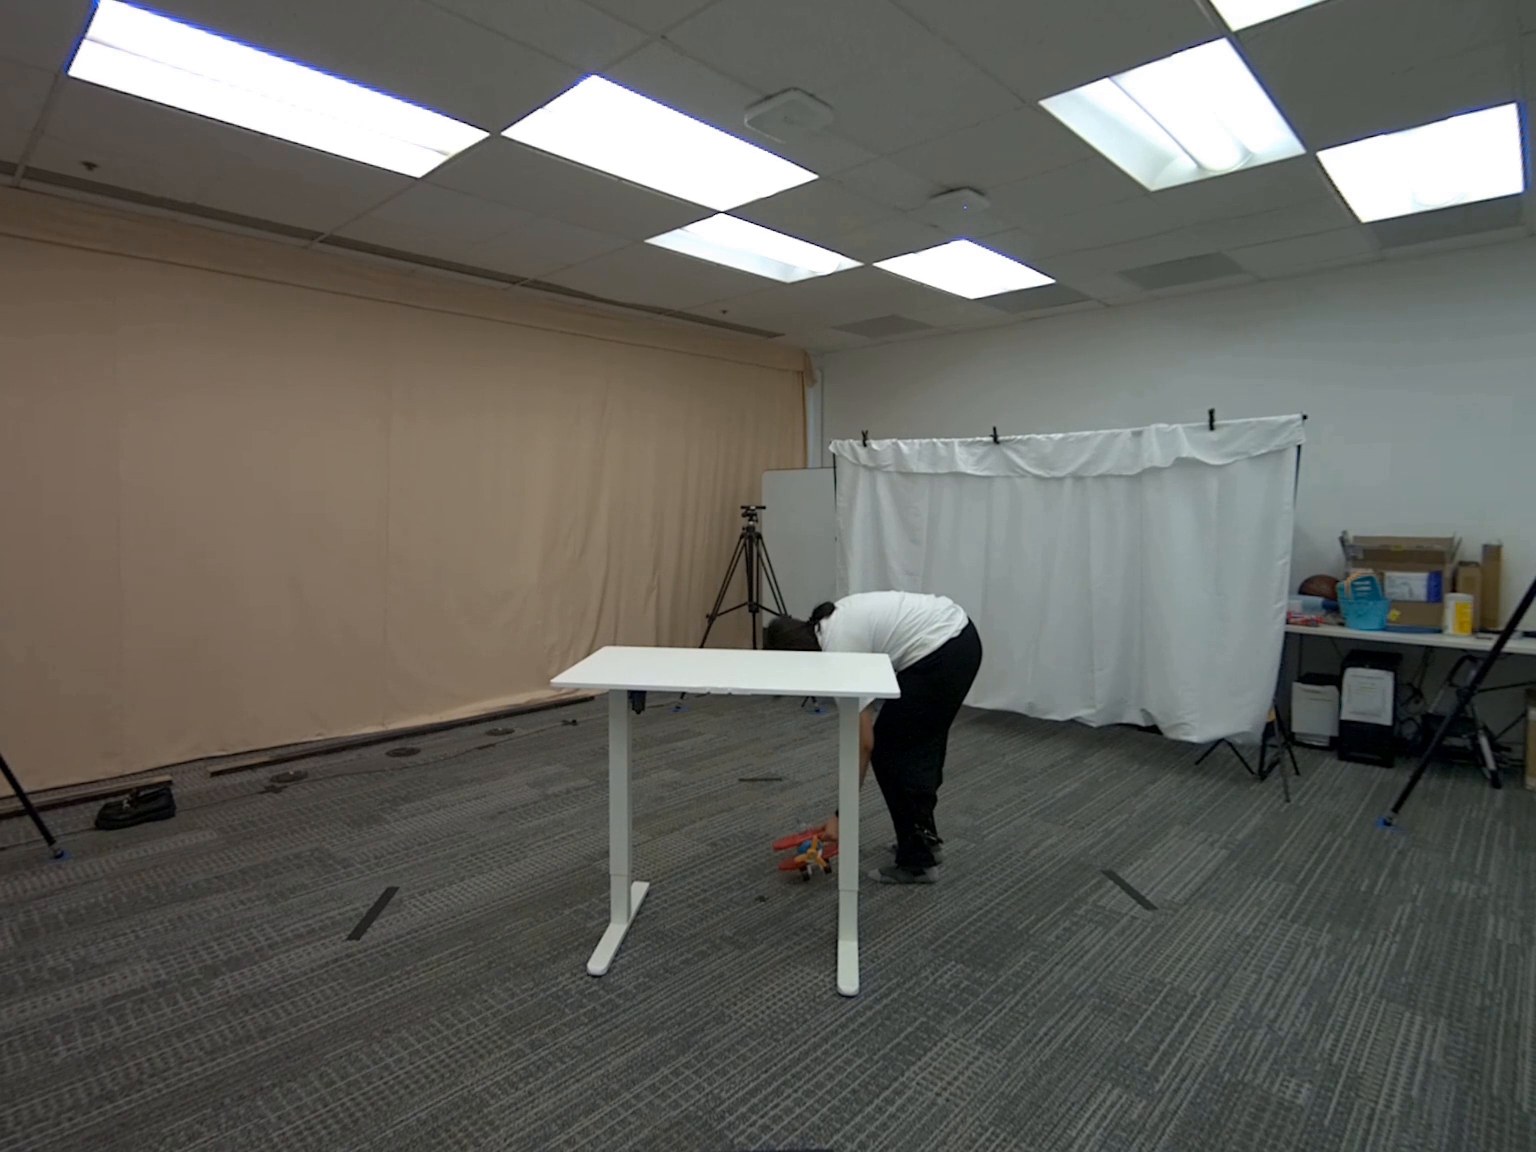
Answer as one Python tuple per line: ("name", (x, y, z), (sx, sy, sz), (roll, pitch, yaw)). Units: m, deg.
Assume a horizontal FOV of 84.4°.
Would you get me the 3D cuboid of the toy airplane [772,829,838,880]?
("toy airplane", (0.132, 1.030, 3.171), (0.246, 0.154, 0.268), (-27, 22, -33))
